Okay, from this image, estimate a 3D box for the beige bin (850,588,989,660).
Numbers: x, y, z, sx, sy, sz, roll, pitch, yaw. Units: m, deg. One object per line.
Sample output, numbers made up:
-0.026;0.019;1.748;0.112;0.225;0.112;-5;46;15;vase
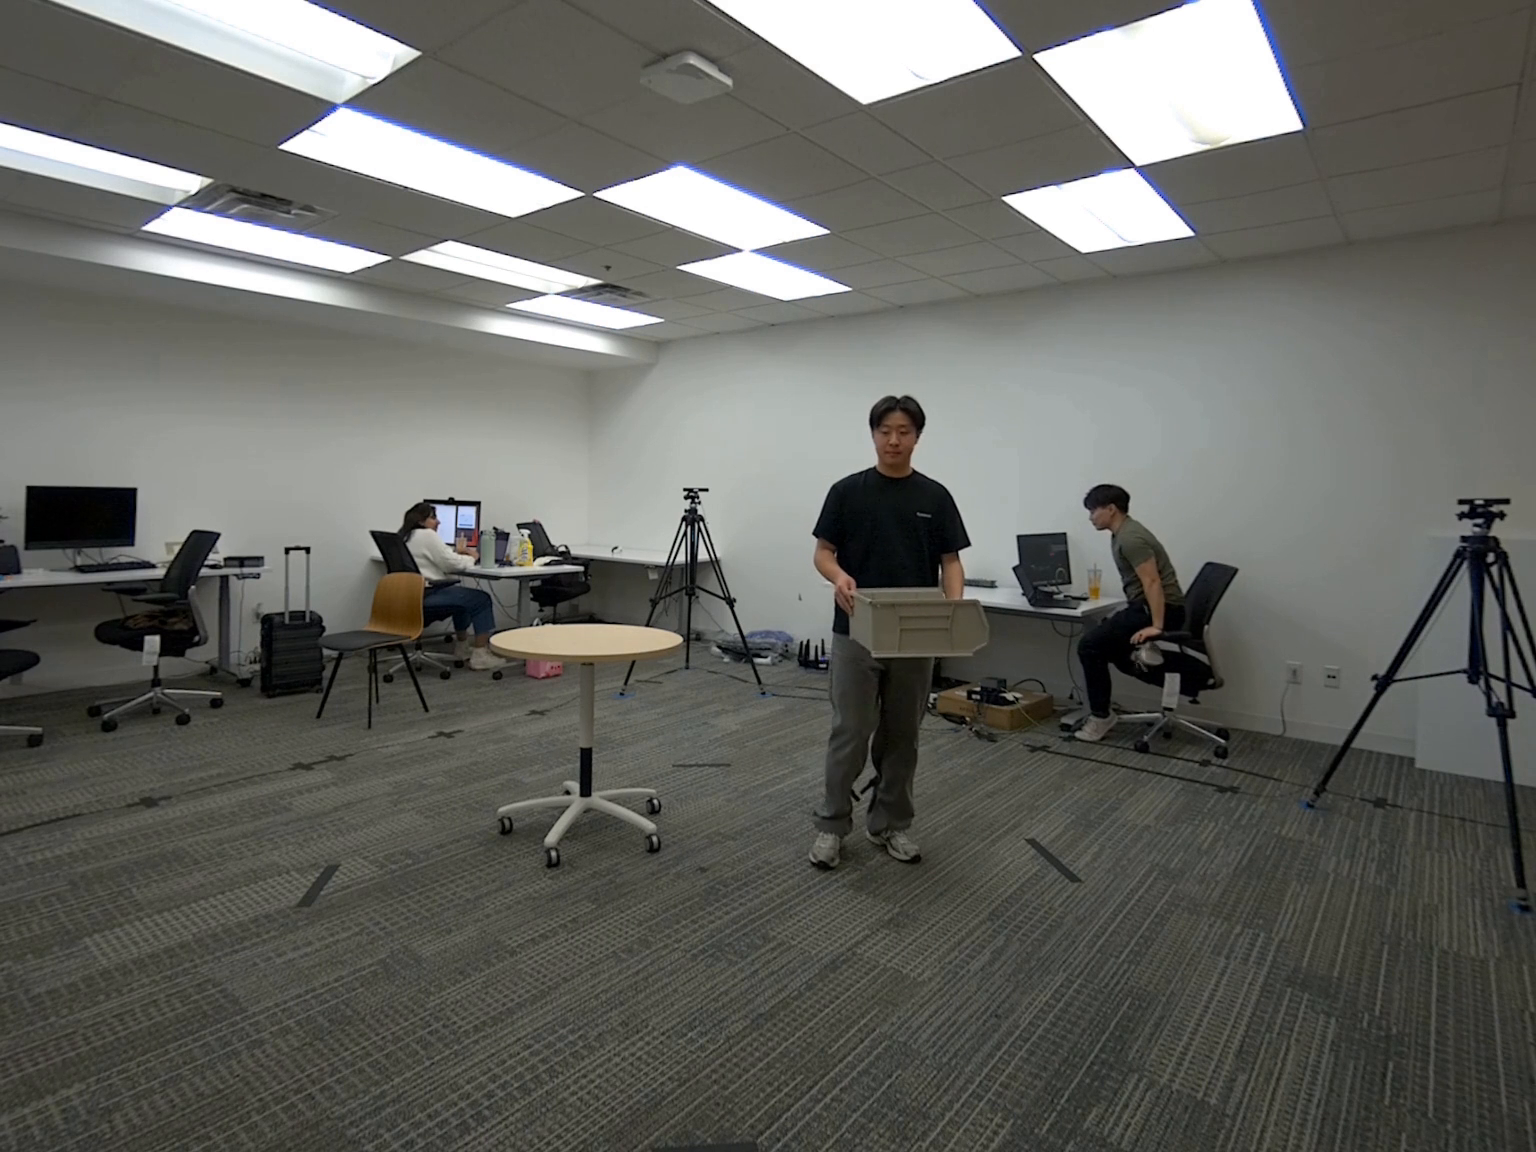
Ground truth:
0.482;0.151;2.835;0.376;0.188;0.425;-1;4;-4;beige bin
